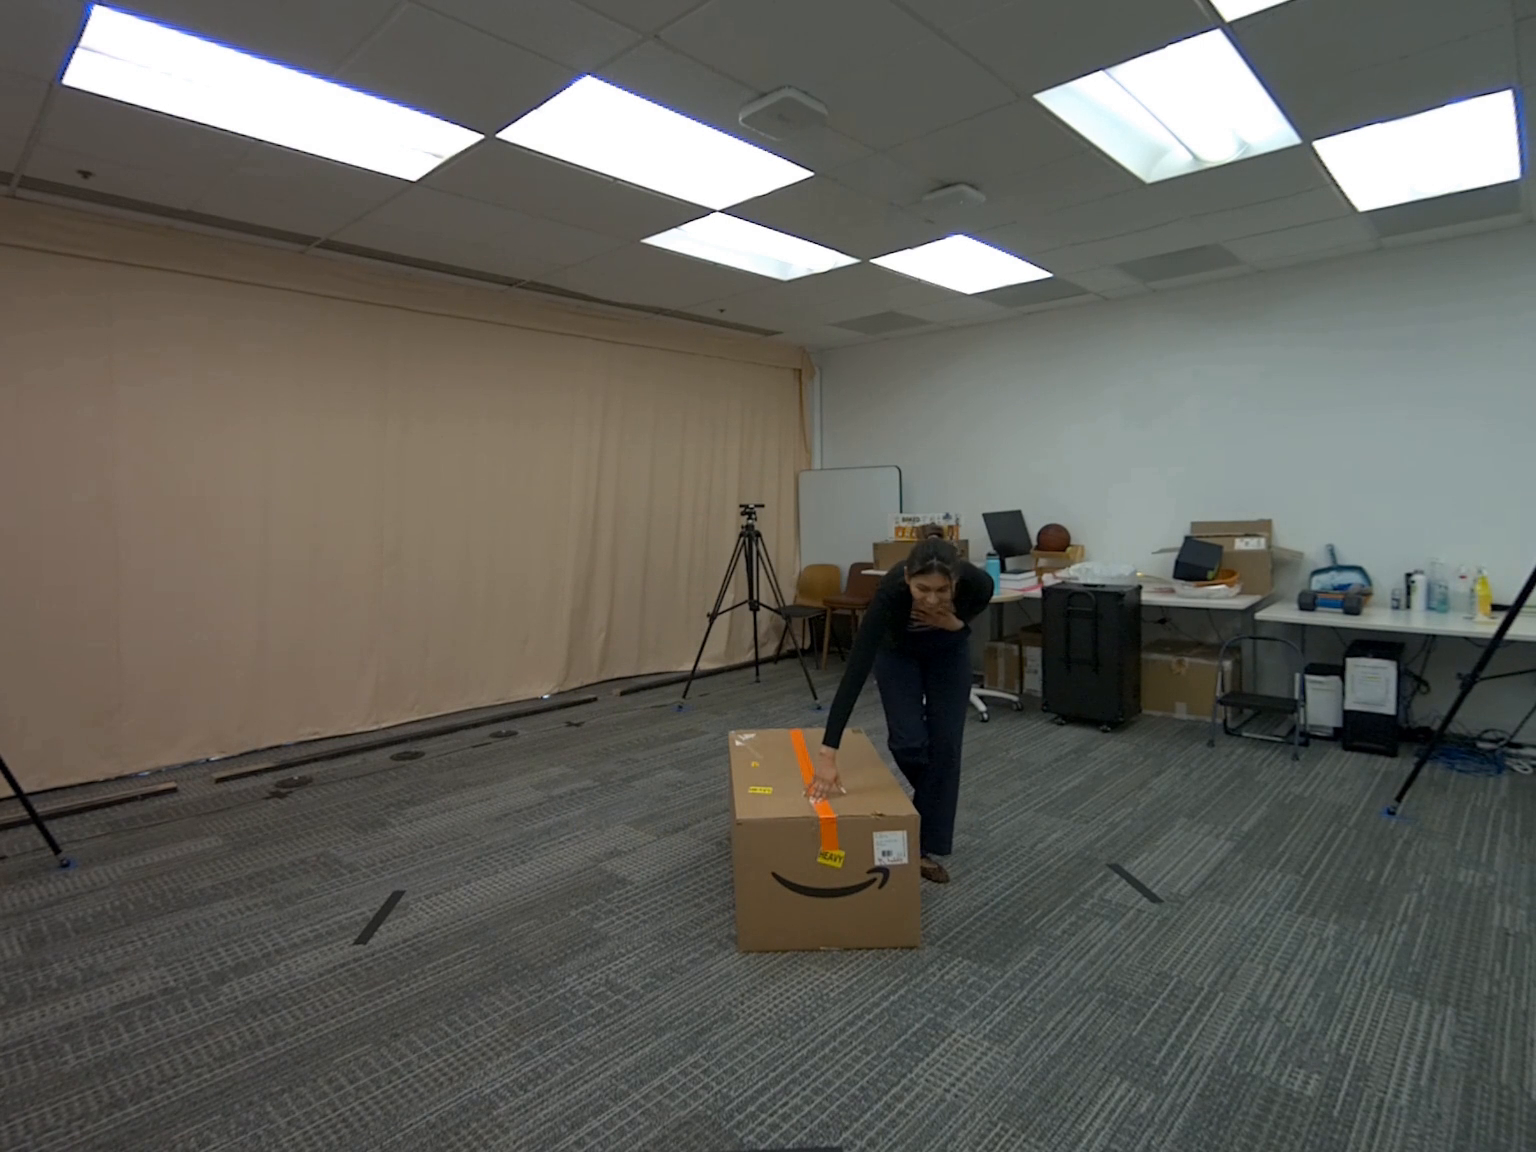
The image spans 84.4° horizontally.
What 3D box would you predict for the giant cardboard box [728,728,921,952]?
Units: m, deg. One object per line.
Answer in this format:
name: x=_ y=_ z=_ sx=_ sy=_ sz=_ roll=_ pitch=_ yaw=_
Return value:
giant cardboard box: x=0.159 y=0.909 z=3.120 sx=0.576 sy=0.425 sz=1.031 roll=-2 pitch=5 yaw=-3
